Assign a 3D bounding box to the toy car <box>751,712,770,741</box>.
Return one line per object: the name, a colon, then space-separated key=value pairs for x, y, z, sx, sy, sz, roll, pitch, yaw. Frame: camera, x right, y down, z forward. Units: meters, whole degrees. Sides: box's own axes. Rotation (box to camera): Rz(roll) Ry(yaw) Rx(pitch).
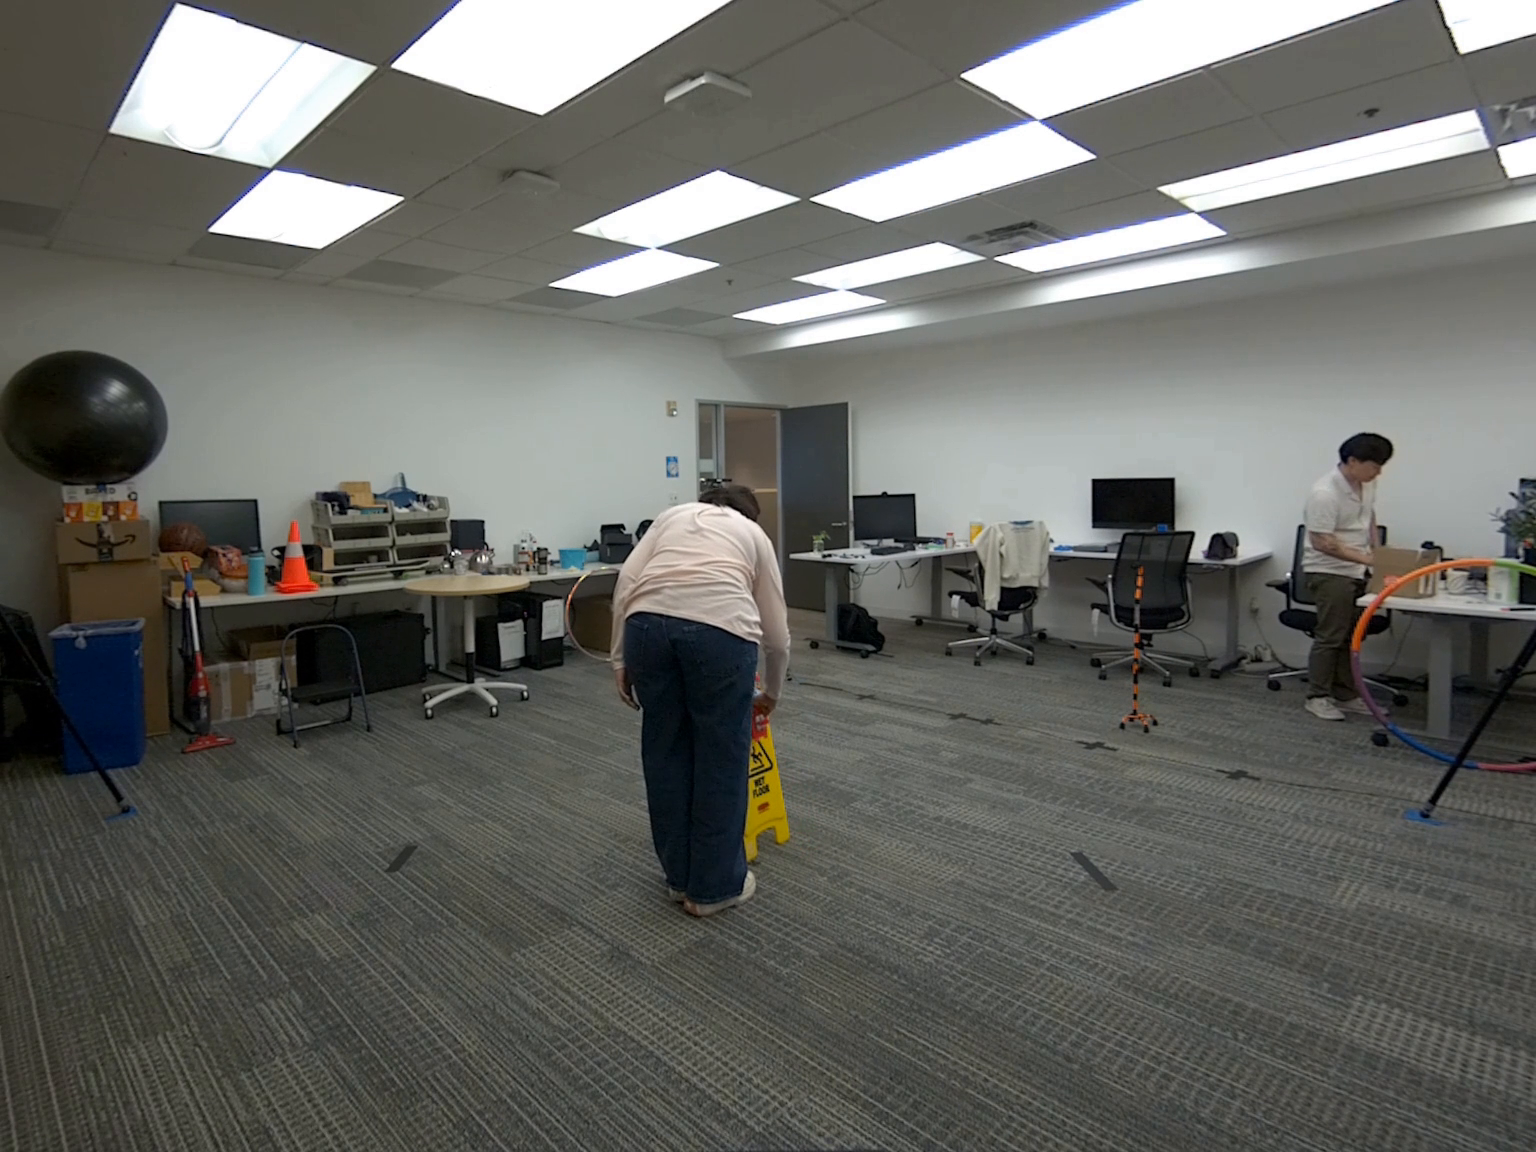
toy car: x=-0.069 y=0.496 z=3.211 sx=0.084 sy=0.258 sz=0.127 roll=-24 pitch=-14 yaw=38
